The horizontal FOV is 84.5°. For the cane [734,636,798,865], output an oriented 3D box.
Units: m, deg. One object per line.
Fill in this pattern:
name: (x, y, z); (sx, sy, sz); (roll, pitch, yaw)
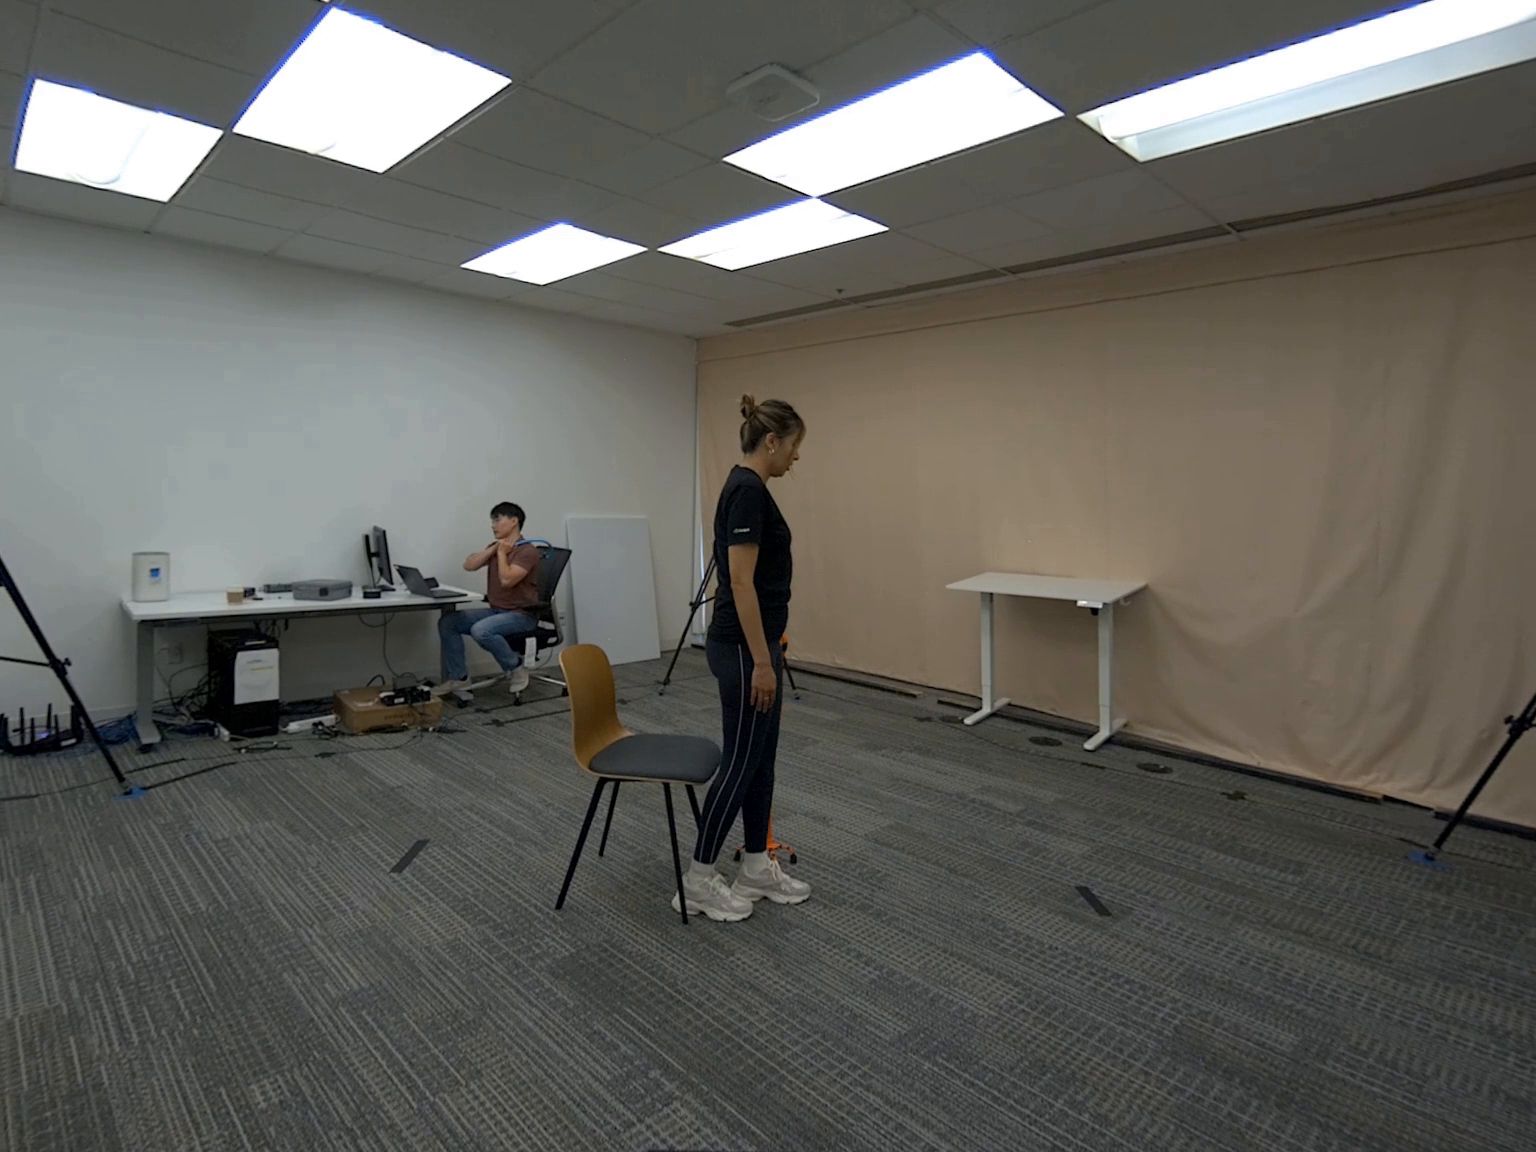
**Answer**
cane: (-0.007, 0.652, 3.218); (0.211, 0.907, 0.148); (2, 2, 37)
